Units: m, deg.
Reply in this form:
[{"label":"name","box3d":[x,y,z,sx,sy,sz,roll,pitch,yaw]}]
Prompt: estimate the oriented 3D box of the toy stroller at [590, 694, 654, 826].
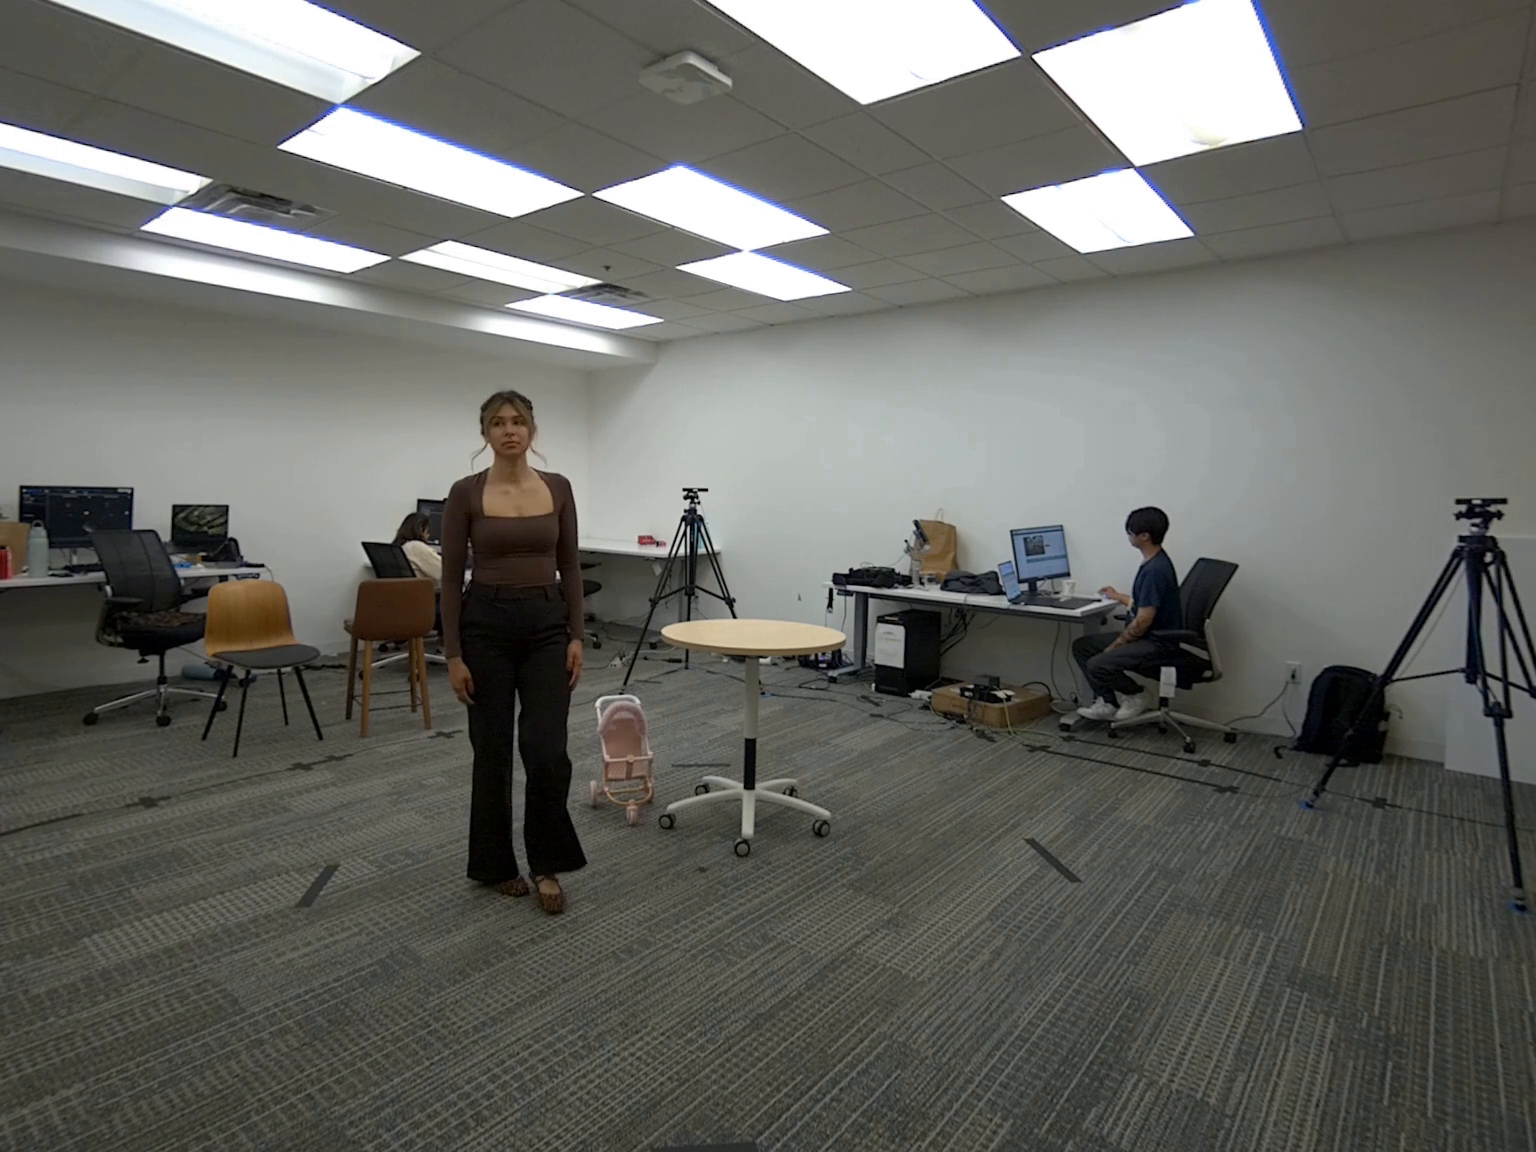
[{"label":"toy stroller","box3d":[-0.634,0.779,3.683,0.277,0.541,0.342,-1,-11,-15]}]
